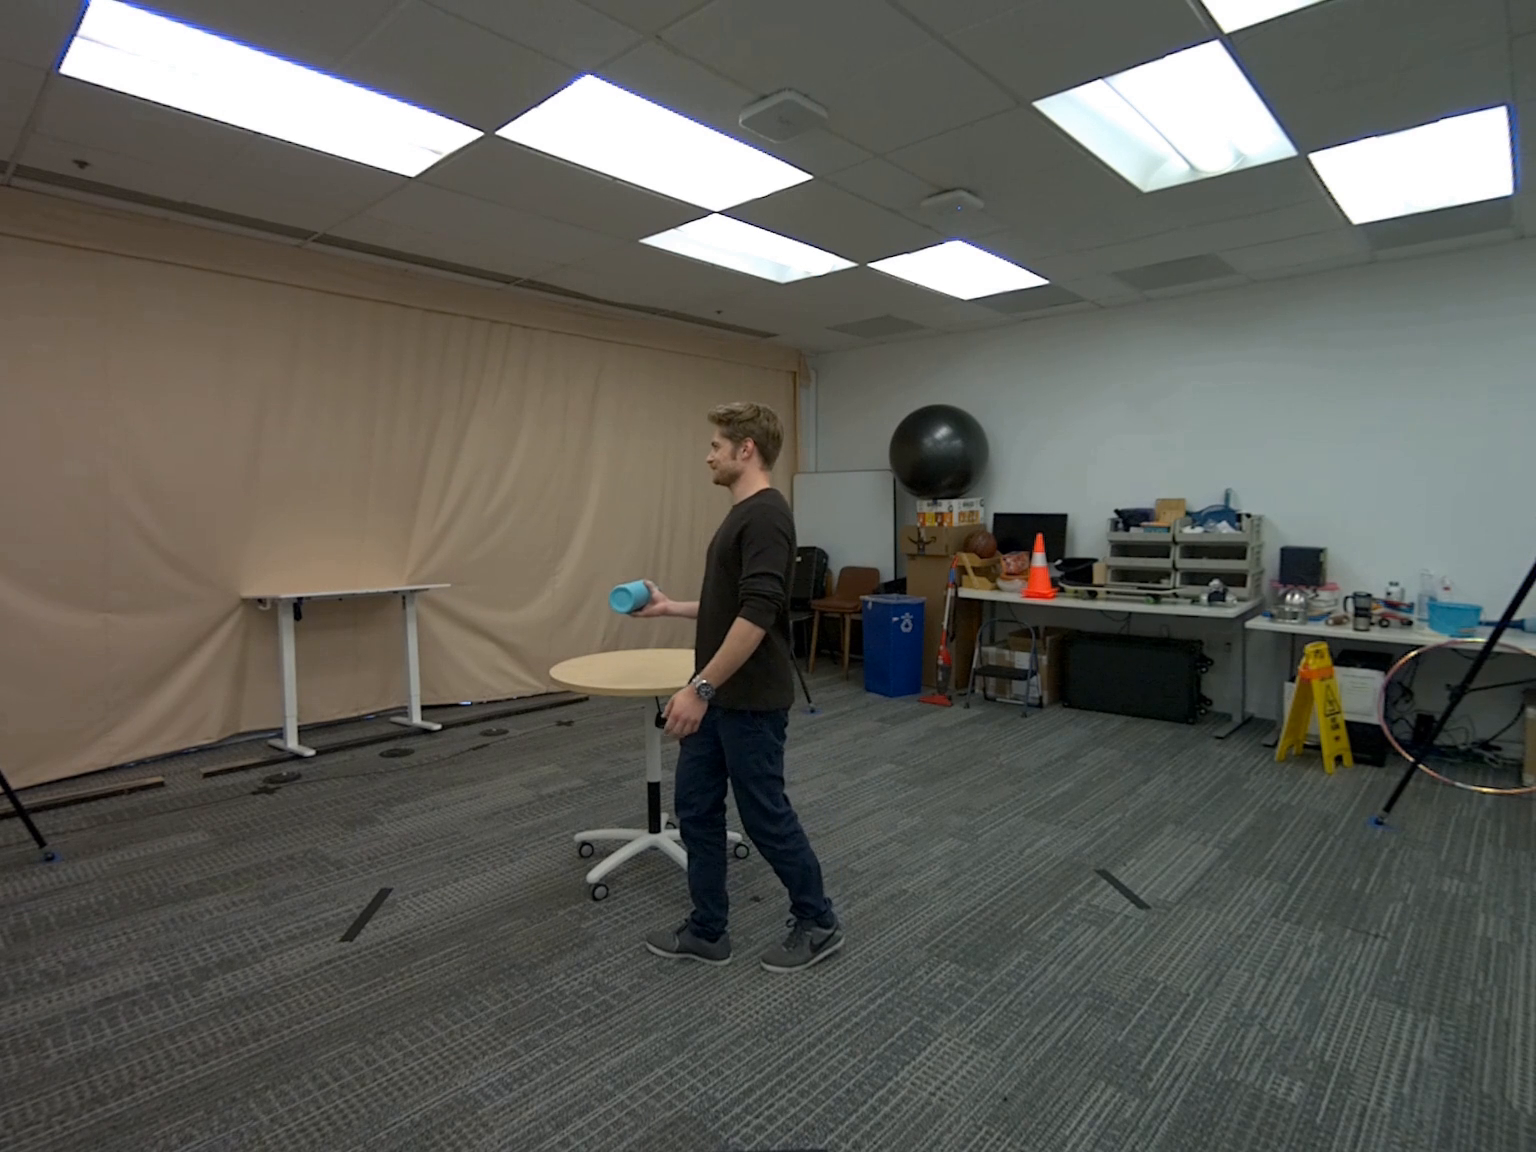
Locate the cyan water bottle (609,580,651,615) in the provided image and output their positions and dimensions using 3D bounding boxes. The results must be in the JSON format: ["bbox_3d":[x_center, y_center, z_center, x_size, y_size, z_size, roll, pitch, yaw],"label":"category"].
[{"bbox_3d":[-0.441,0.064,2.803,0.093,0.092,0.281,0,2,6],"label":"cyan water bottle"}]
